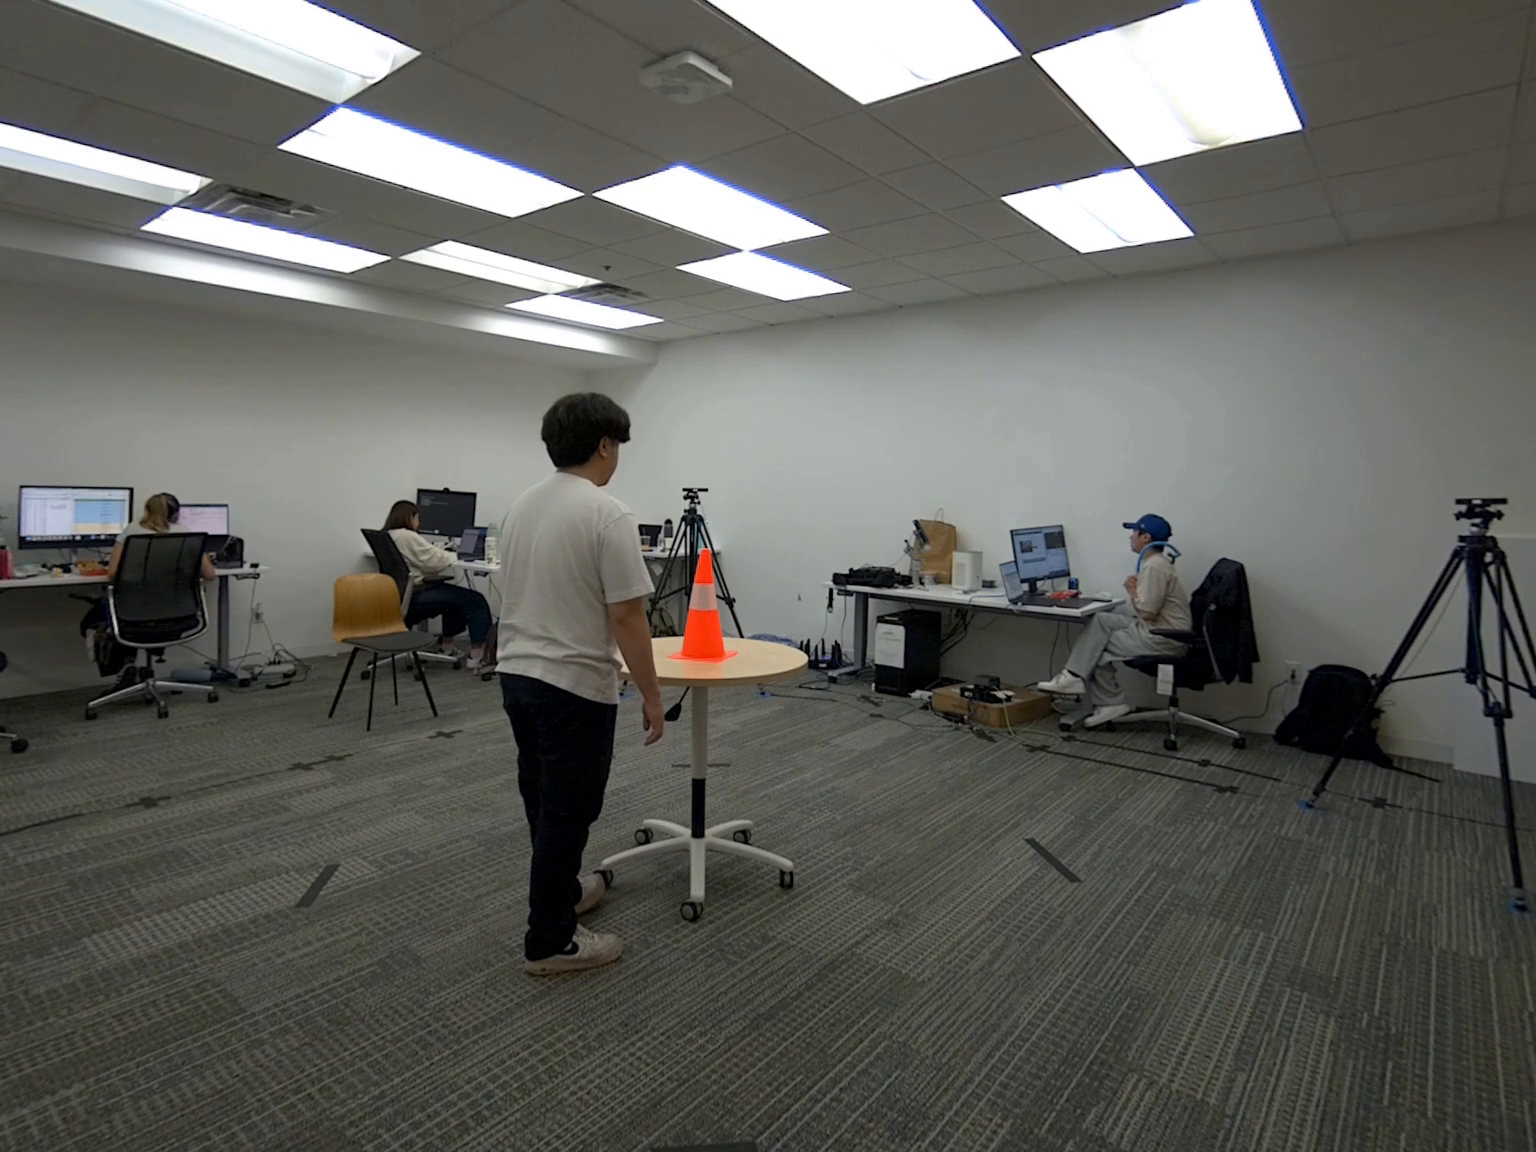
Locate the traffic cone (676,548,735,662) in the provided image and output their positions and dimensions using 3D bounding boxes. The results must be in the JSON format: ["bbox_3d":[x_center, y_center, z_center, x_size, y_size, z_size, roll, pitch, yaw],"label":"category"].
[{"bbox_3d":[-0.235,0.094,3.018,0.209,0.382,0.200,3,4,19],"label":"traffic cone"}]
